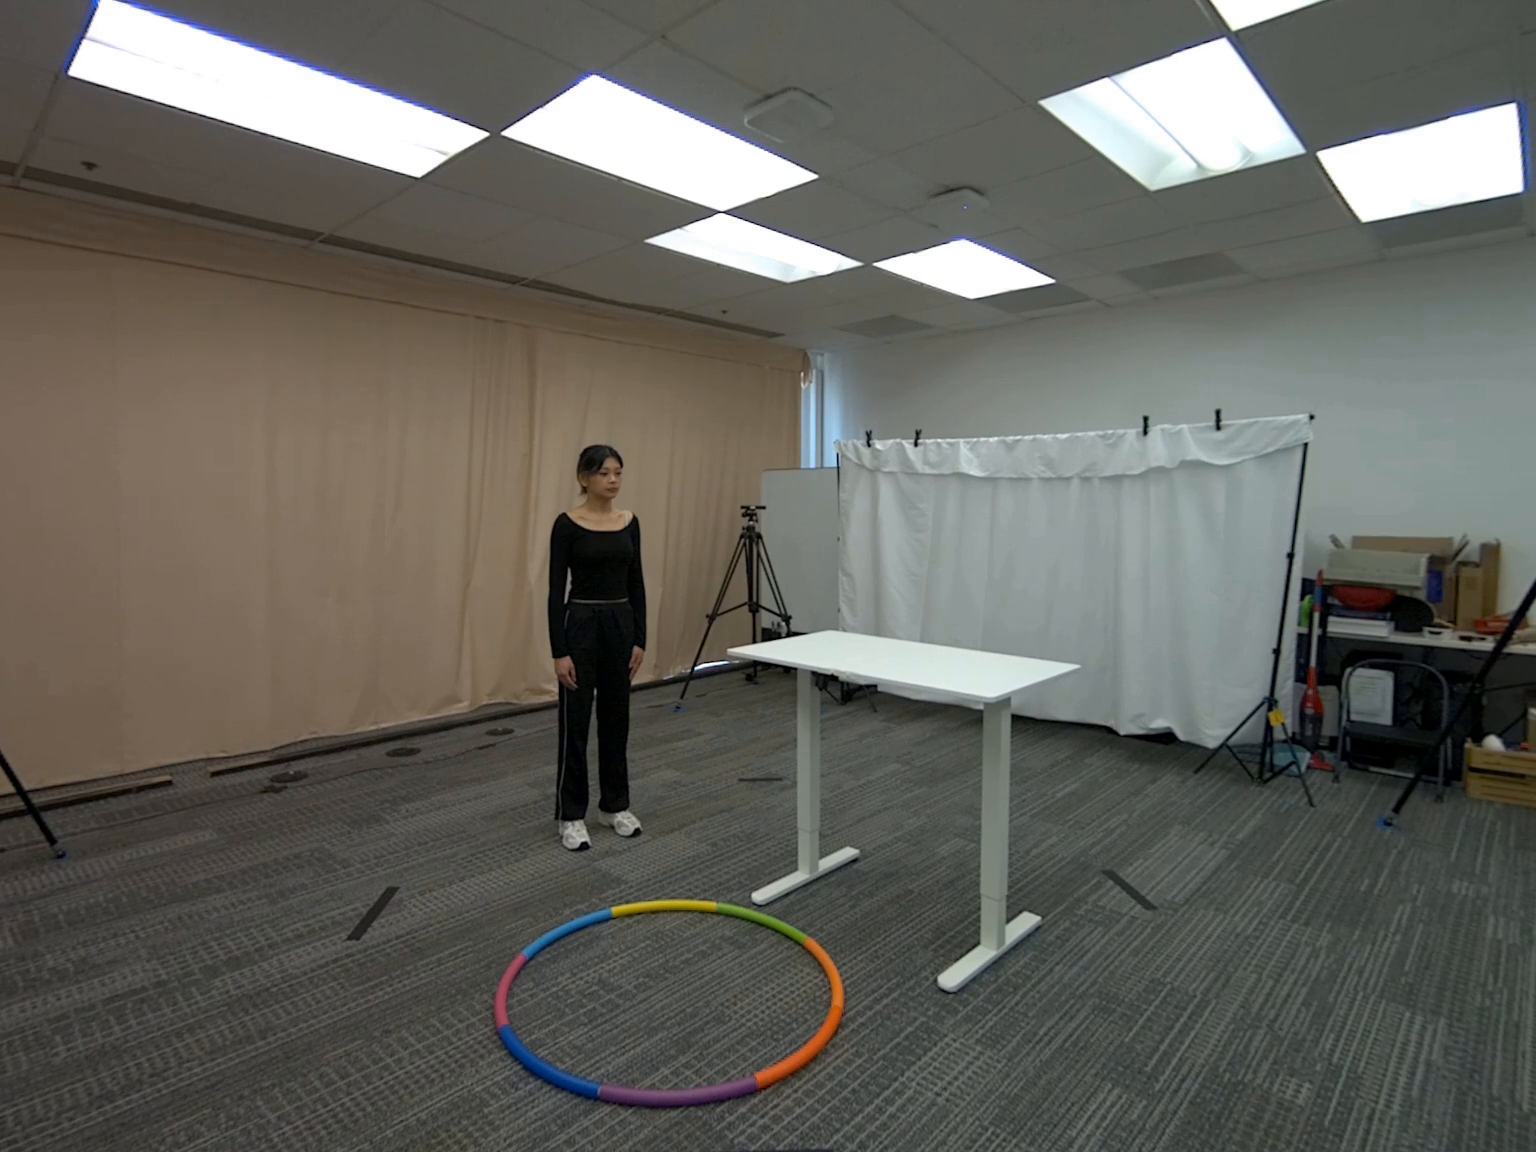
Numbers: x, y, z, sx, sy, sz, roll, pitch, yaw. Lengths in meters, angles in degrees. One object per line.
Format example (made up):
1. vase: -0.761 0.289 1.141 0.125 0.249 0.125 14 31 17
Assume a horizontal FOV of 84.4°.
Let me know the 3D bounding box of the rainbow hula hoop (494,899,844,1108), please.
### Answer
1. rainbow hula hoop: -0.277 1.162 2.436 0.978 0.035 0.982 -1 5 -2
